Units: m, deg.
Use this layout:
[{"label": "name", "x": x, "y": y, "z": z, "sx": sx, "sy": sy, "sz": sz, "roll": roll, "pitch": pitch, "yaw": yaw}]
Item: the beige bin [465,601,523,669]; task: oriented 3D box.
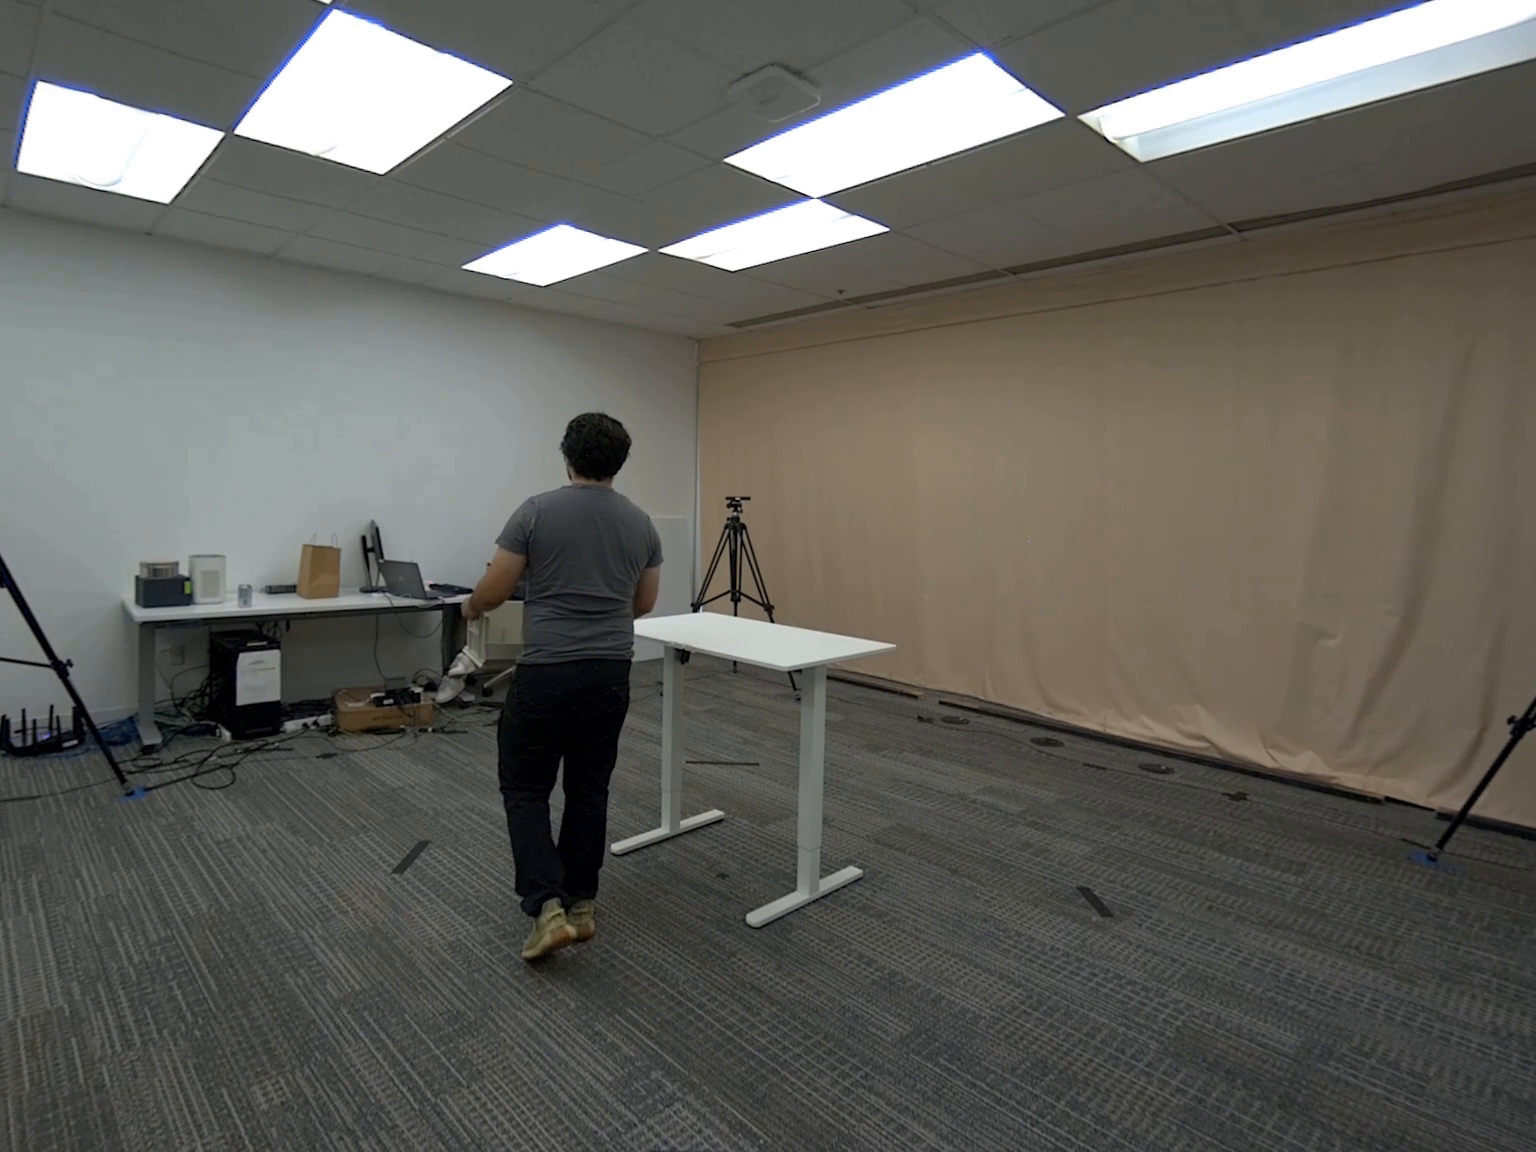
[{"label": "beige bin", "x": -0.819, "y": 0.197, "z": 2.926, "sx": 0.414, "sy": 0.189, "sz": 0.386, "roll": 2, "pitch": 3, "yaw": -29}]
